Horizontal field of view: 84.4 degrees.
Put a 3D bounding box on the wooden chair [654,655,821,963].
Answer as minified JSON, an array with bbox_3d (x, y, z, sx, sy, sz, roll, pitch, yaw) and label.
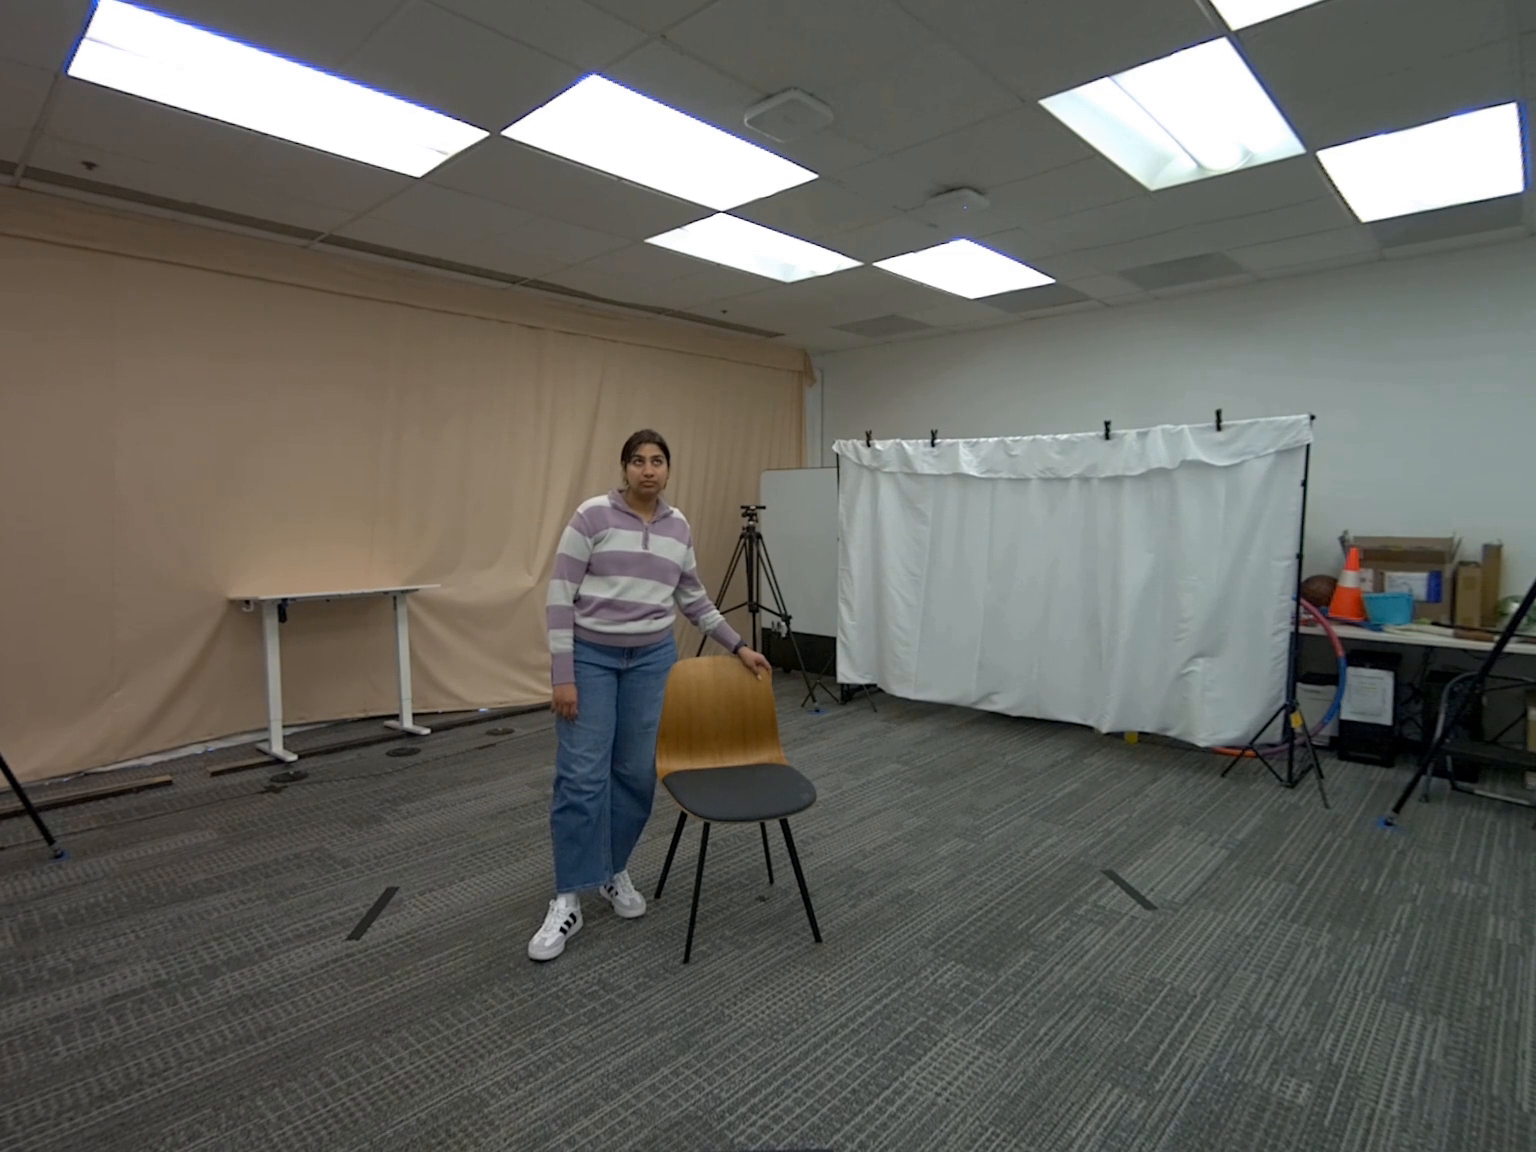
[{"bbox_3d":[-0.104,0.732,2.795,0.470,0.878,0.532,-1,-1,-18],"label":"wooden chair"}]
